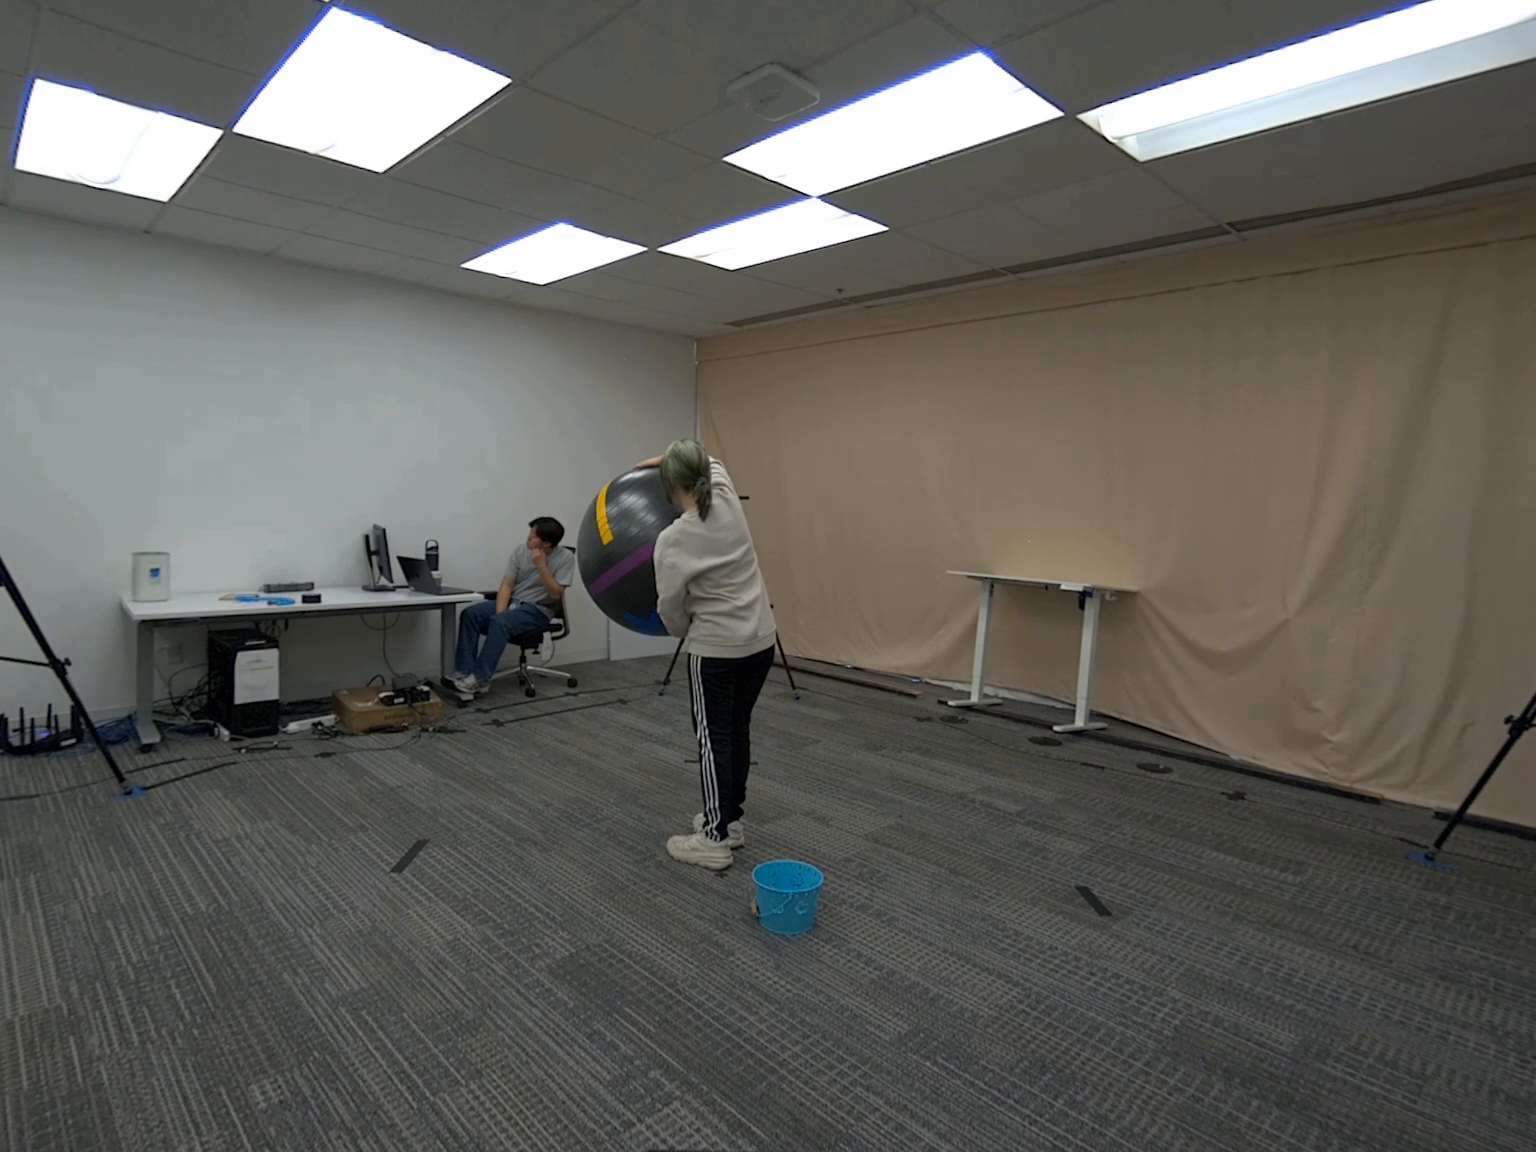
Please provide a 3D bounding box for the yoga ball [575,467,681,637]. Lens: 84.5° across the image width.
[{"bbox_3d":[-0.465,-0.113,3.721,0.757,0.756,0.761,1,4,-1],"label":"yoga ball"}]
